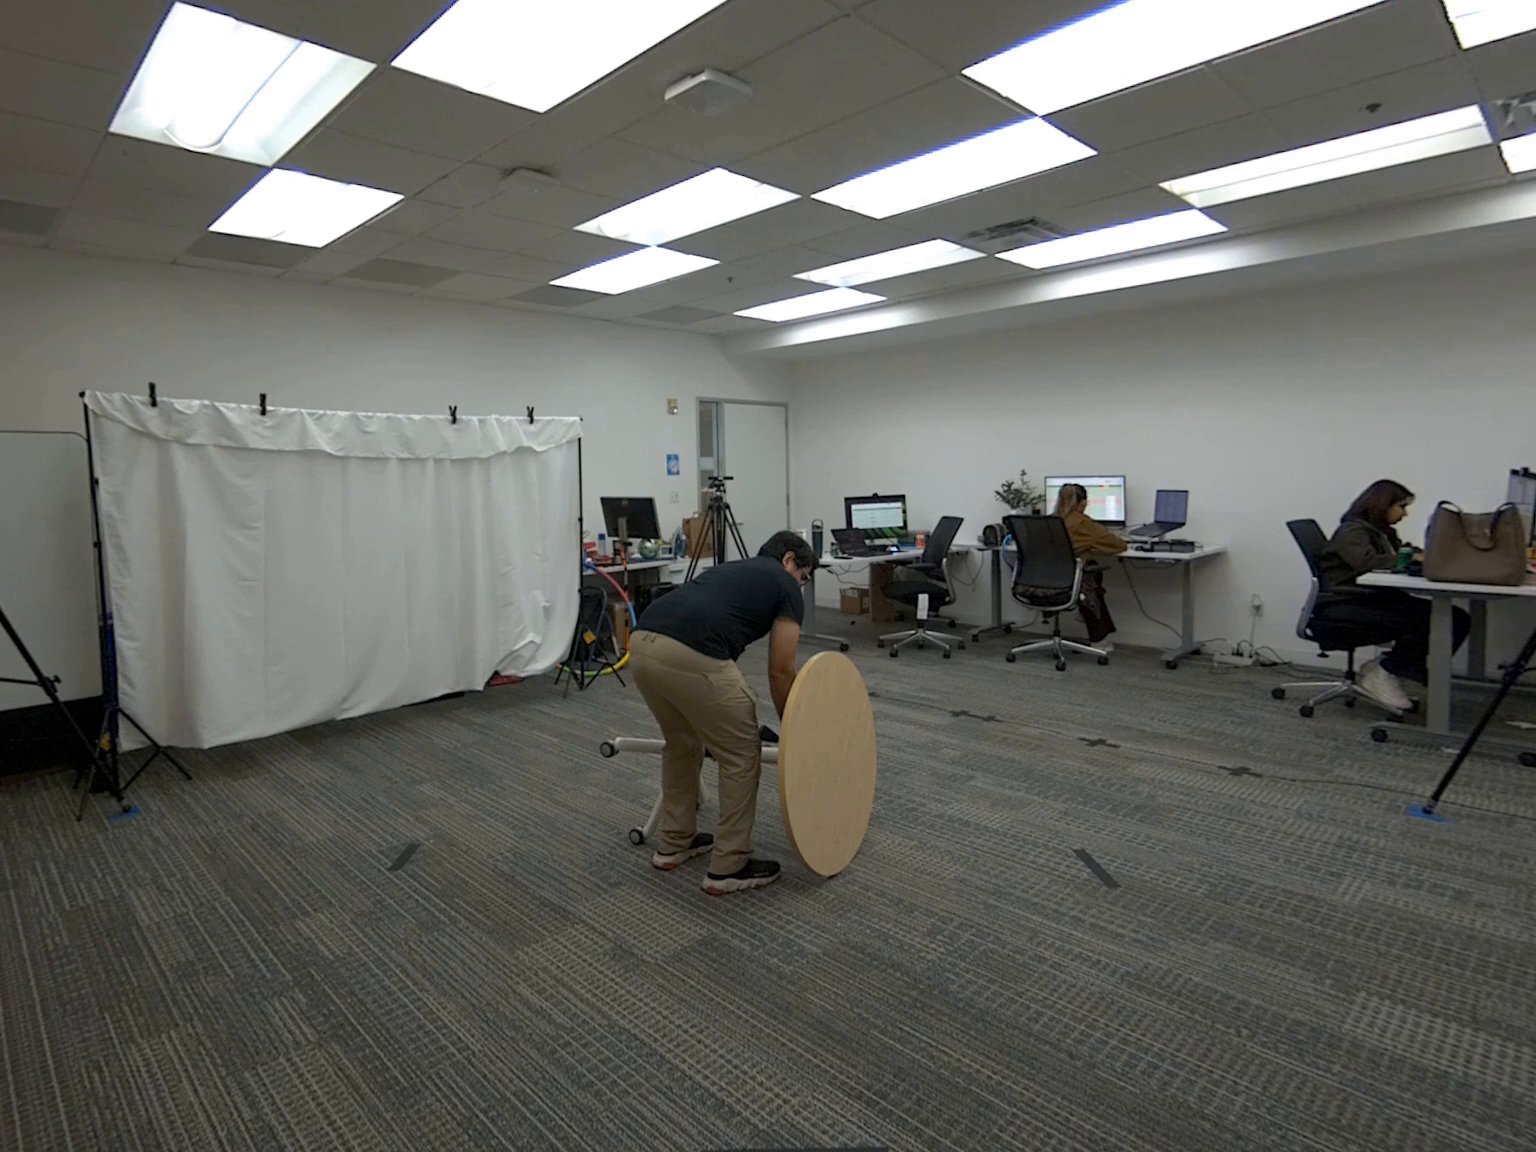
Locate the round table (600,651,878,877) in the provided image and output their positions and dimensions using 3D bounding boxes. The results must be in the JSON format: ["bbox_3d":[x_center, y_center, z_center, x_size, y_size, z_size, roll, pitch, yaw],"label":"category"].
[{"bbox_3d":[-0.106,0.661,3.250,0.806,0.783,0.768,-3,3,30],"label":"round table"}]
